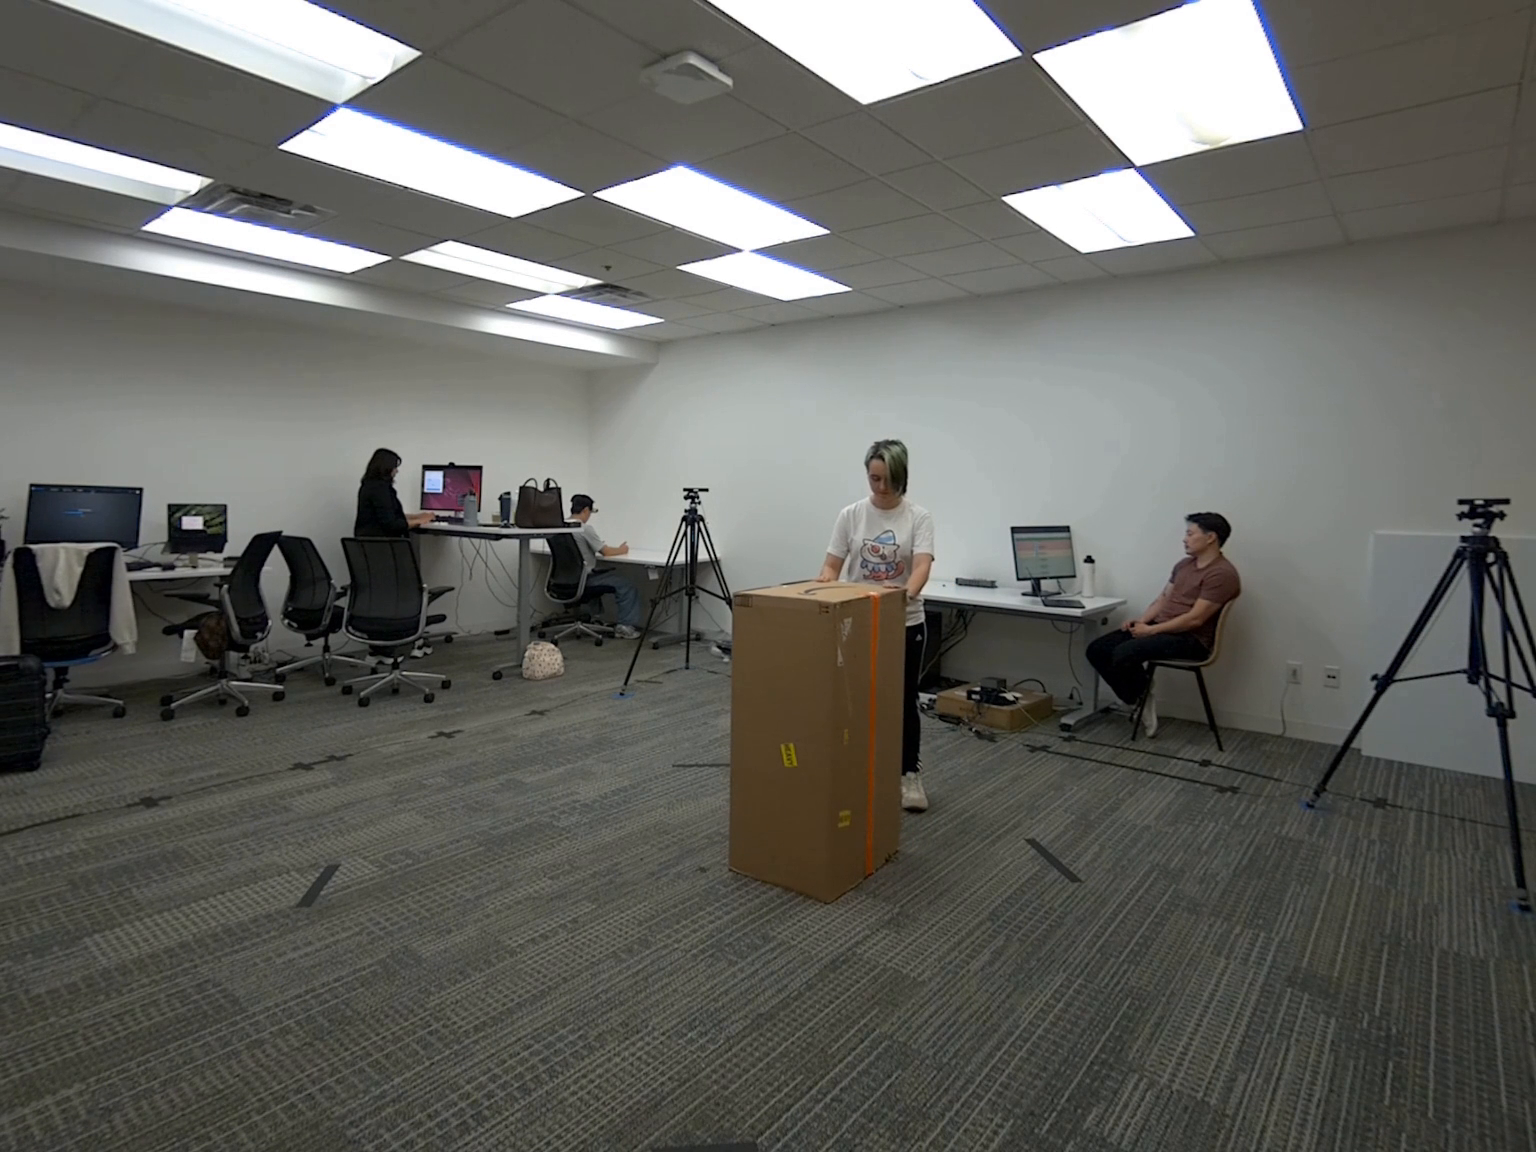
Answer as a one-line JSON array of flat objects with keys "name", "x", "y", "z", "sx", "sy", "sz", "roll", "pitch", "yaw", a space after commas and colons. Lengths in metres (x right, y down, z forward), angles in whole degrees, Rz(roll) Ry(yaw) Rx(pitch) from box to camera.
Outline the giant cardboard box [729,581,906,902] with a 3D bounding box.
[{"name": "giant cardboard box", "x": 0.190, "y": 0.562, "z": 3.185, "sx": 0.461, "sy": 1.024, "sz": 0.568, "roll": 2, "pitch": 3, "yaw": 34}]
